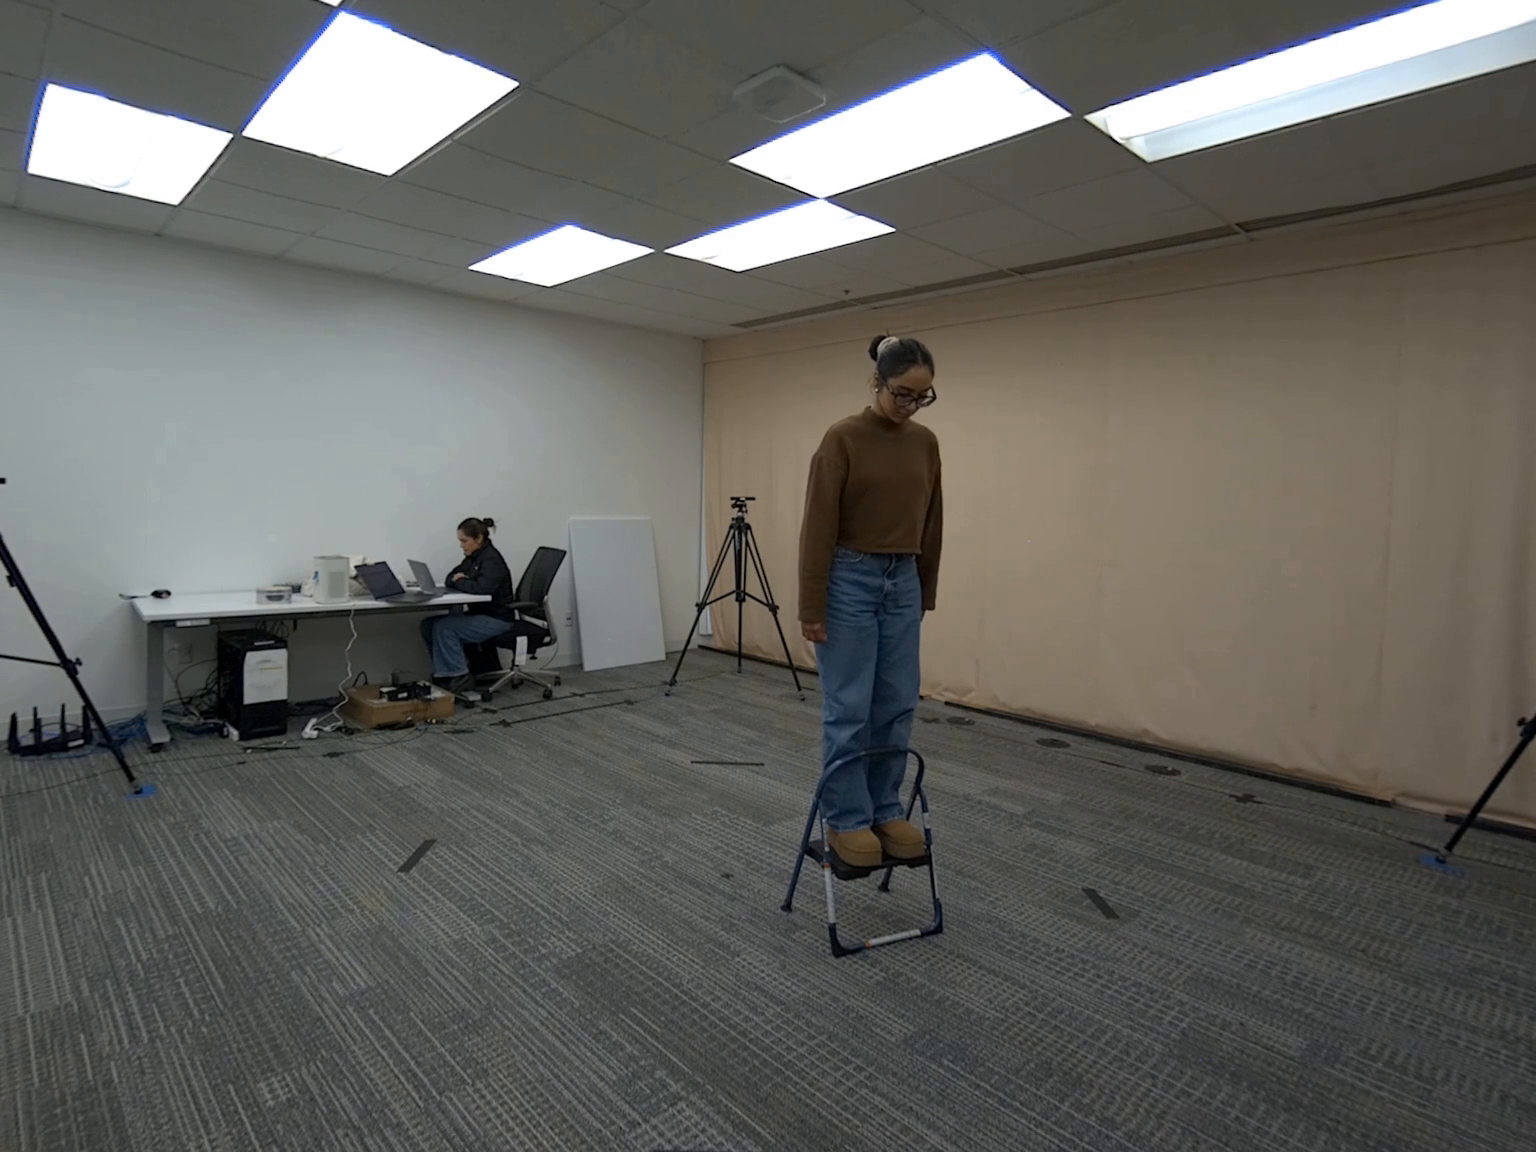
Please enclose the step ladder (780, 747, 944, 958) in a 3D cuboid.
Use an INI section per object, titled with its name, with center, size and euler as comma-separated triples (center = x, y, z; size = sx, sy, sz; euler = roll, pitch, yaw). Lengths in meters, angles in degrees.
[step ladder]
center = 0.317, 0.846, 2.777
size = 0.422, 0.604, 0.357
euler = 1, 4, -27
